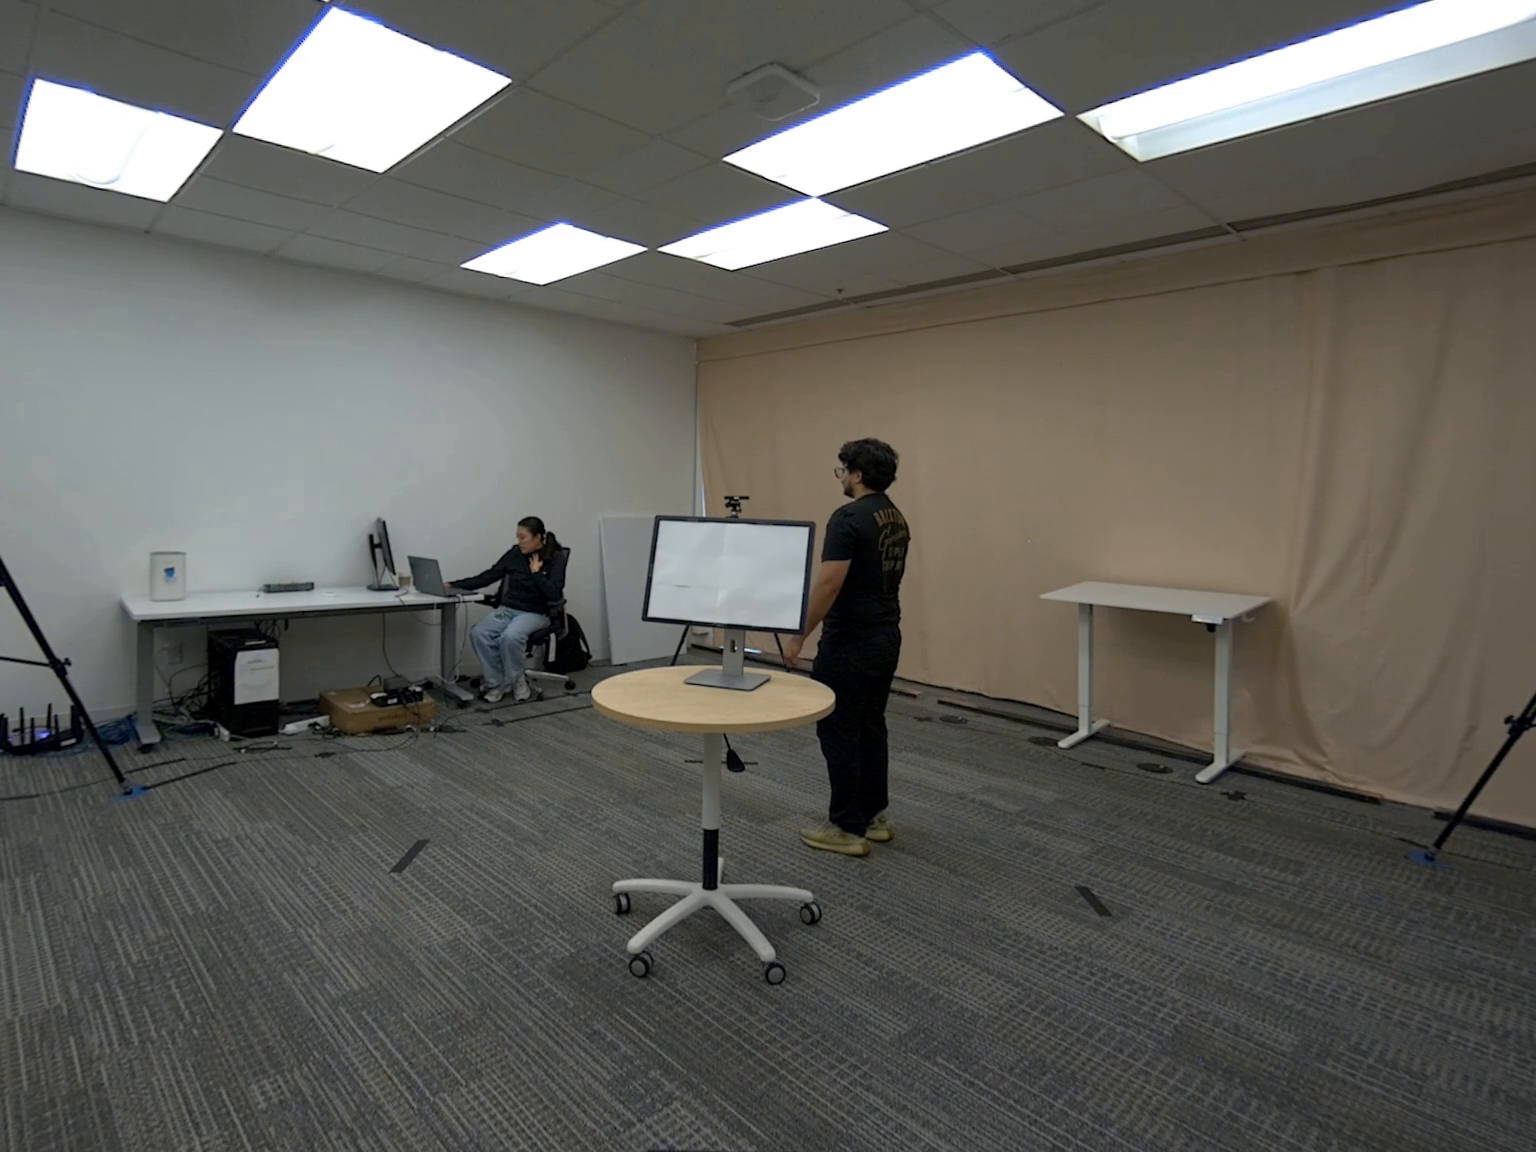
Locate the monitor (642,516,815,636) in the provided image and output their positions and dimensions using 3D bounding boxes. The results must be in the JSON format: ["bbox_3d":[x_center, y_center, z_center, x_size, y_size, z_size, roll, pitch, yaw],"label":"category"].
[{"bbox_3d":[-0.120,0.085,2.805,0.574,0.555,0.206,3,-2,20],"label":"monitor"}]
